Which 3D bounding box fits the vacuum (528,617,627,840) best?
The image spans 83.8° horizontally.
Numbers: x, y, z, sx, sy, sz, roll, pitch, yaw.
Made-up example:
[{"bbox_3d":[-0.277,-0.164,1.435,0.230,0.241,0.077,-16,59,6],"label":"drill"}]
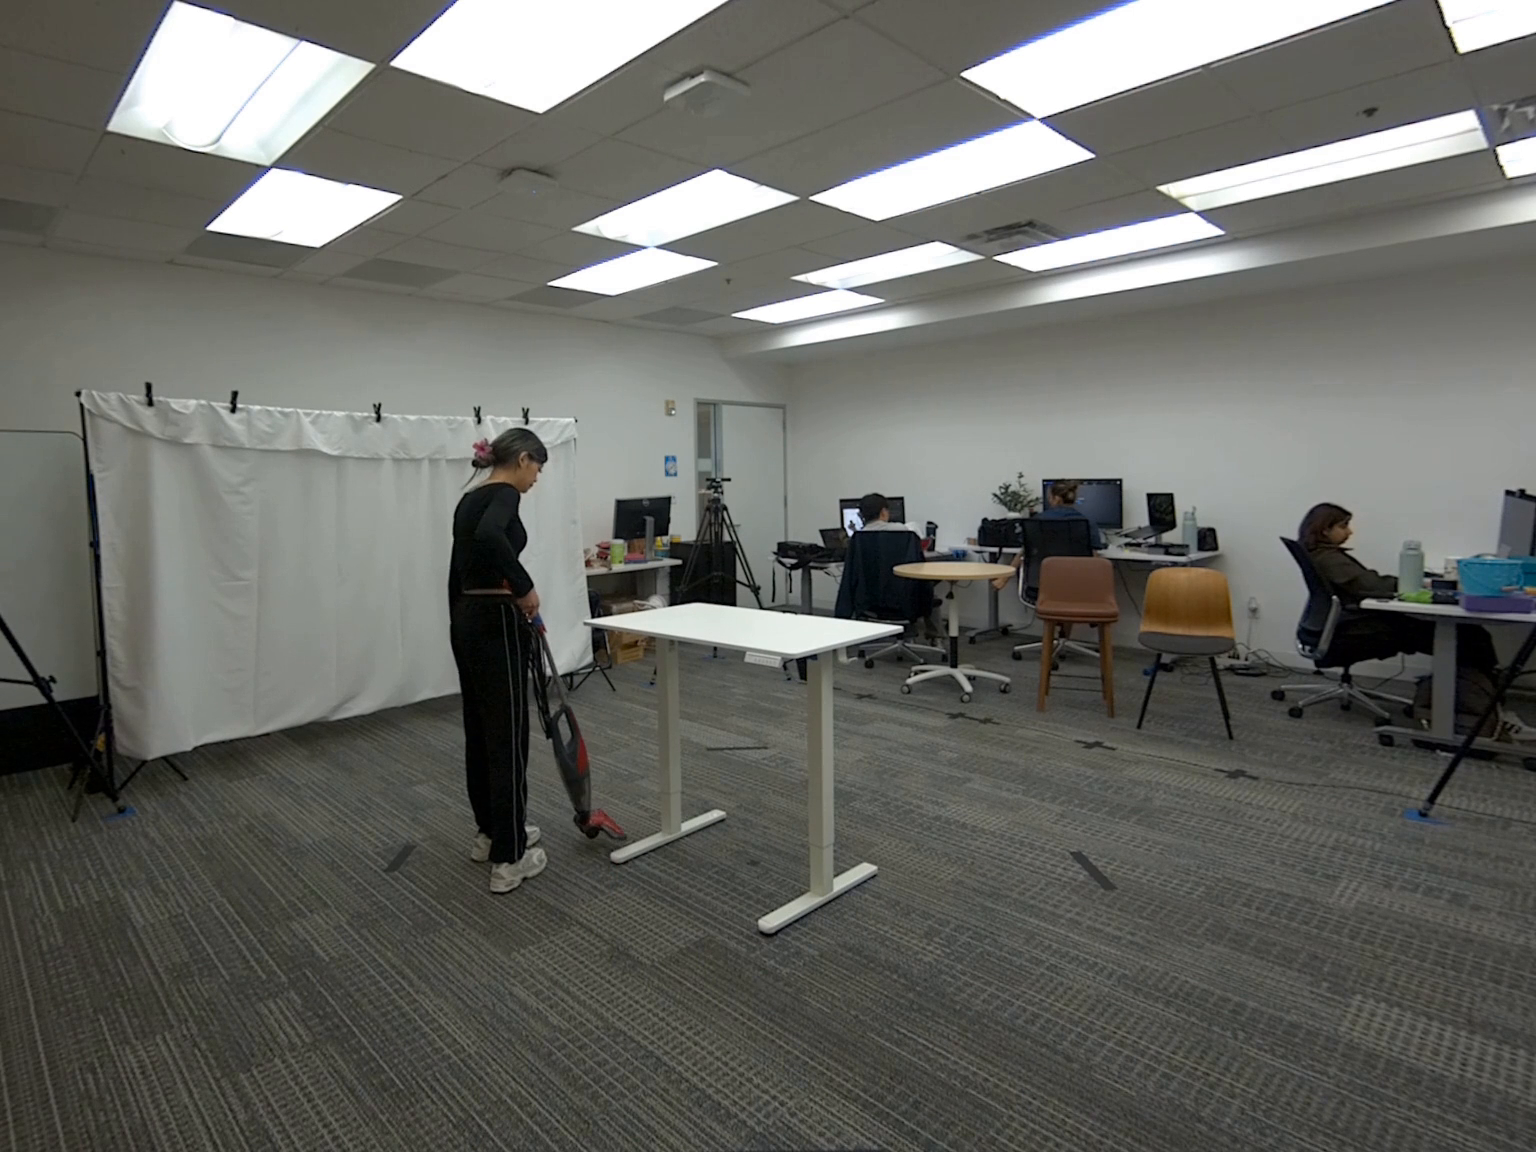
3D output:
[{"bbox_3d":[-0.766,0.492,3.117,0.142,1.029,0.261,-23,21,-28],"label":"vacuum"}]
